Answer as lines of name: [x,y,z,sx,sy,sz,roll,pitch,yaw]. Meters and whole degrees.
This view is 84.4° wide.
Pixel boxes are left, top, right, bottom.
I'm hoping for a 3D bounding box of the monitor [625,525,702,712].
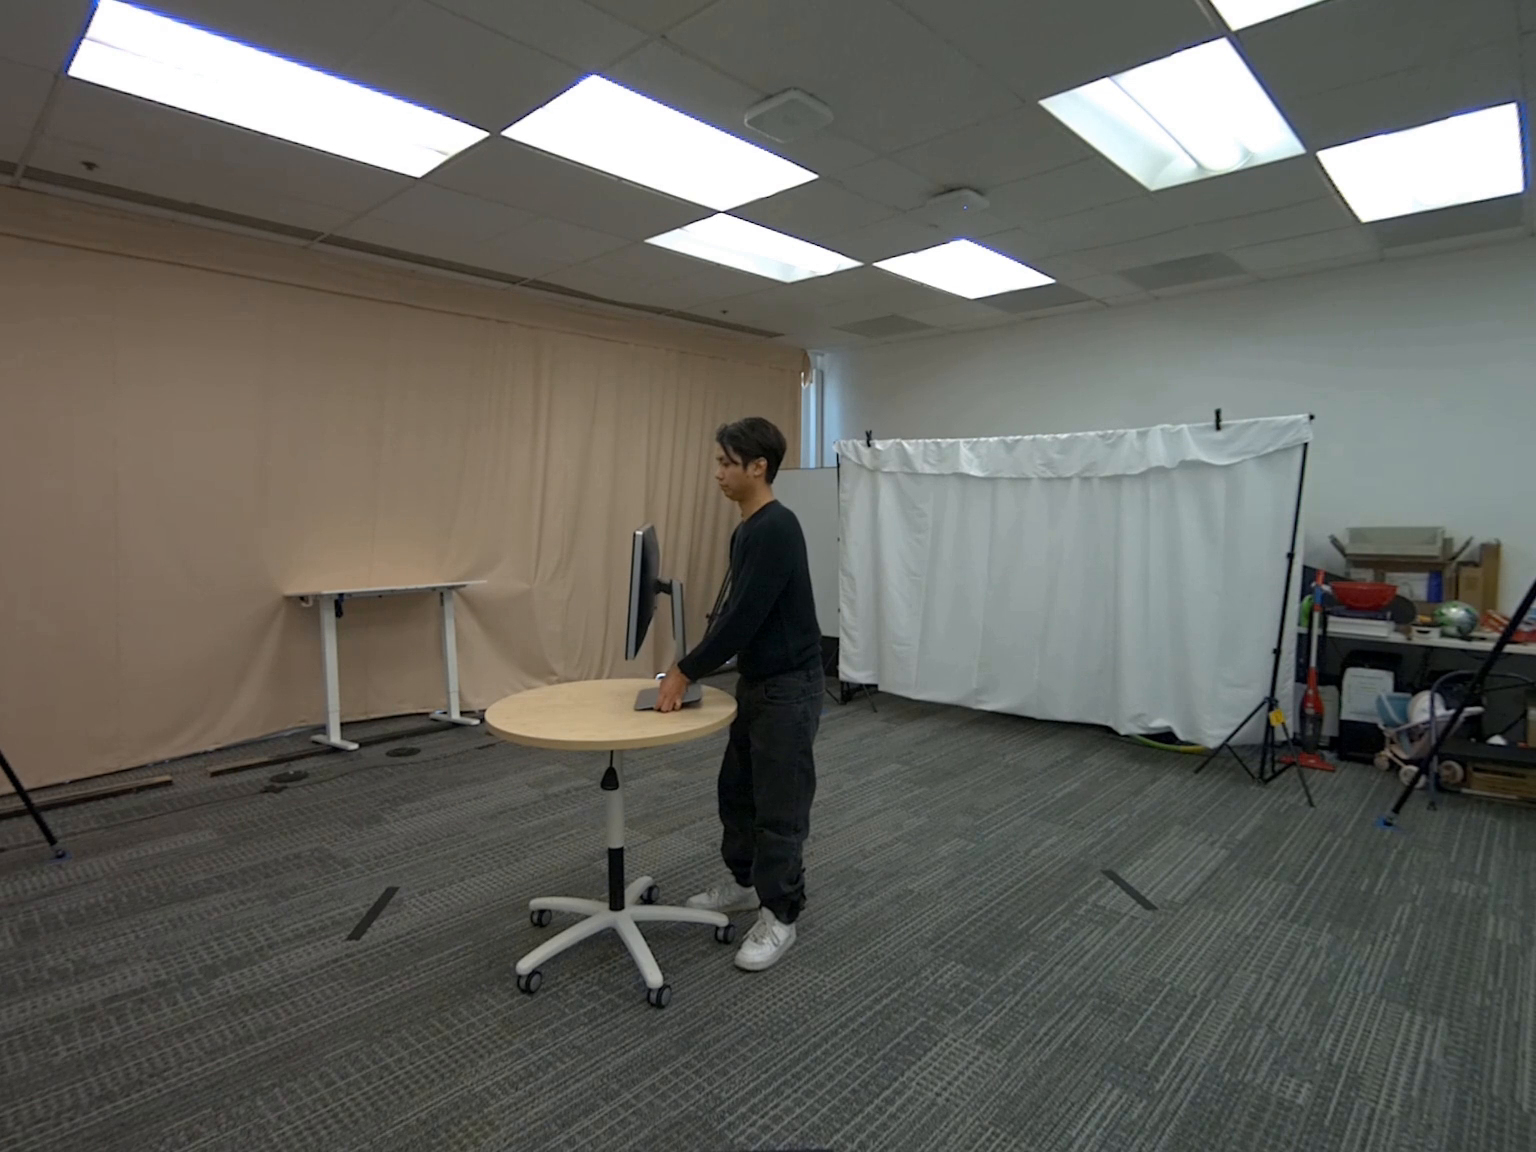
monitor: [-0.340,0.121,2.619,0.186,0.521,0.543,-7,4,-5]
